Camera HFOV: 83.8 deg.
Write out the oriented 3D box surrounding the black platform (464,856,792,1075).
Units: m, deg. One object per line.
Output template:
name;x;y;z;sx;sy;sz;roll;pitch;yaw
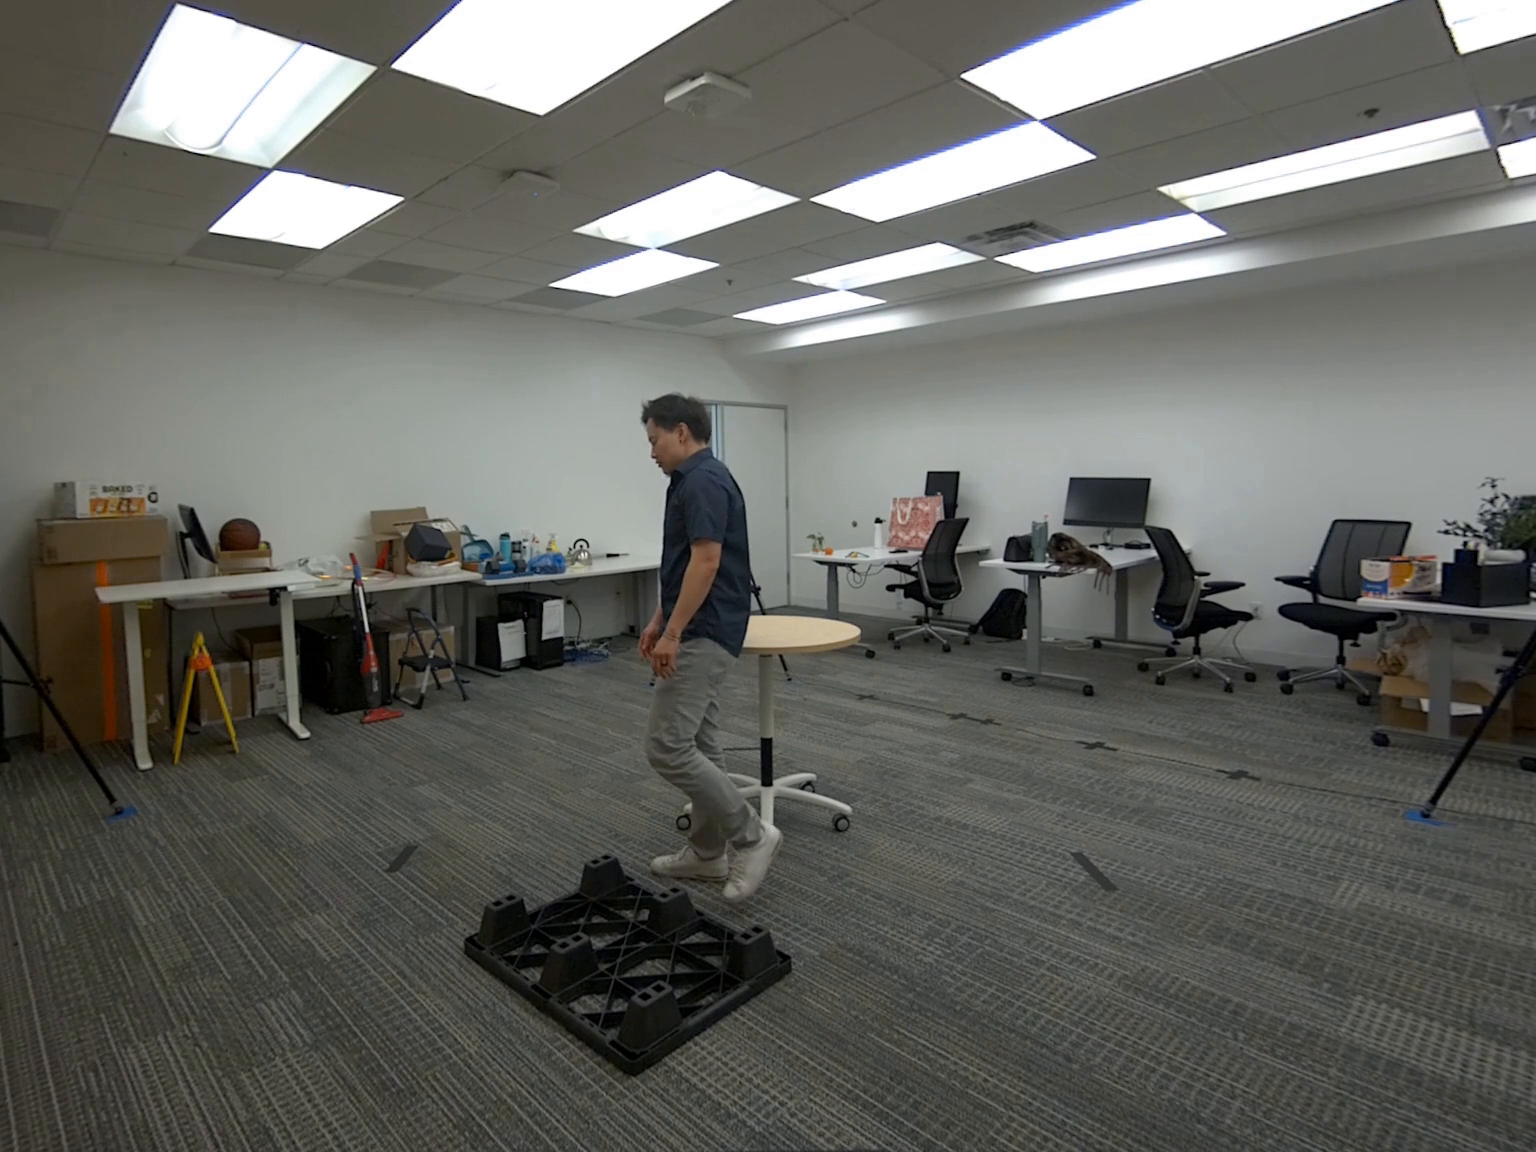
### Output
black platform;-0.424;1.059;2.489;0.830;0.142;0.589;5;9;43
